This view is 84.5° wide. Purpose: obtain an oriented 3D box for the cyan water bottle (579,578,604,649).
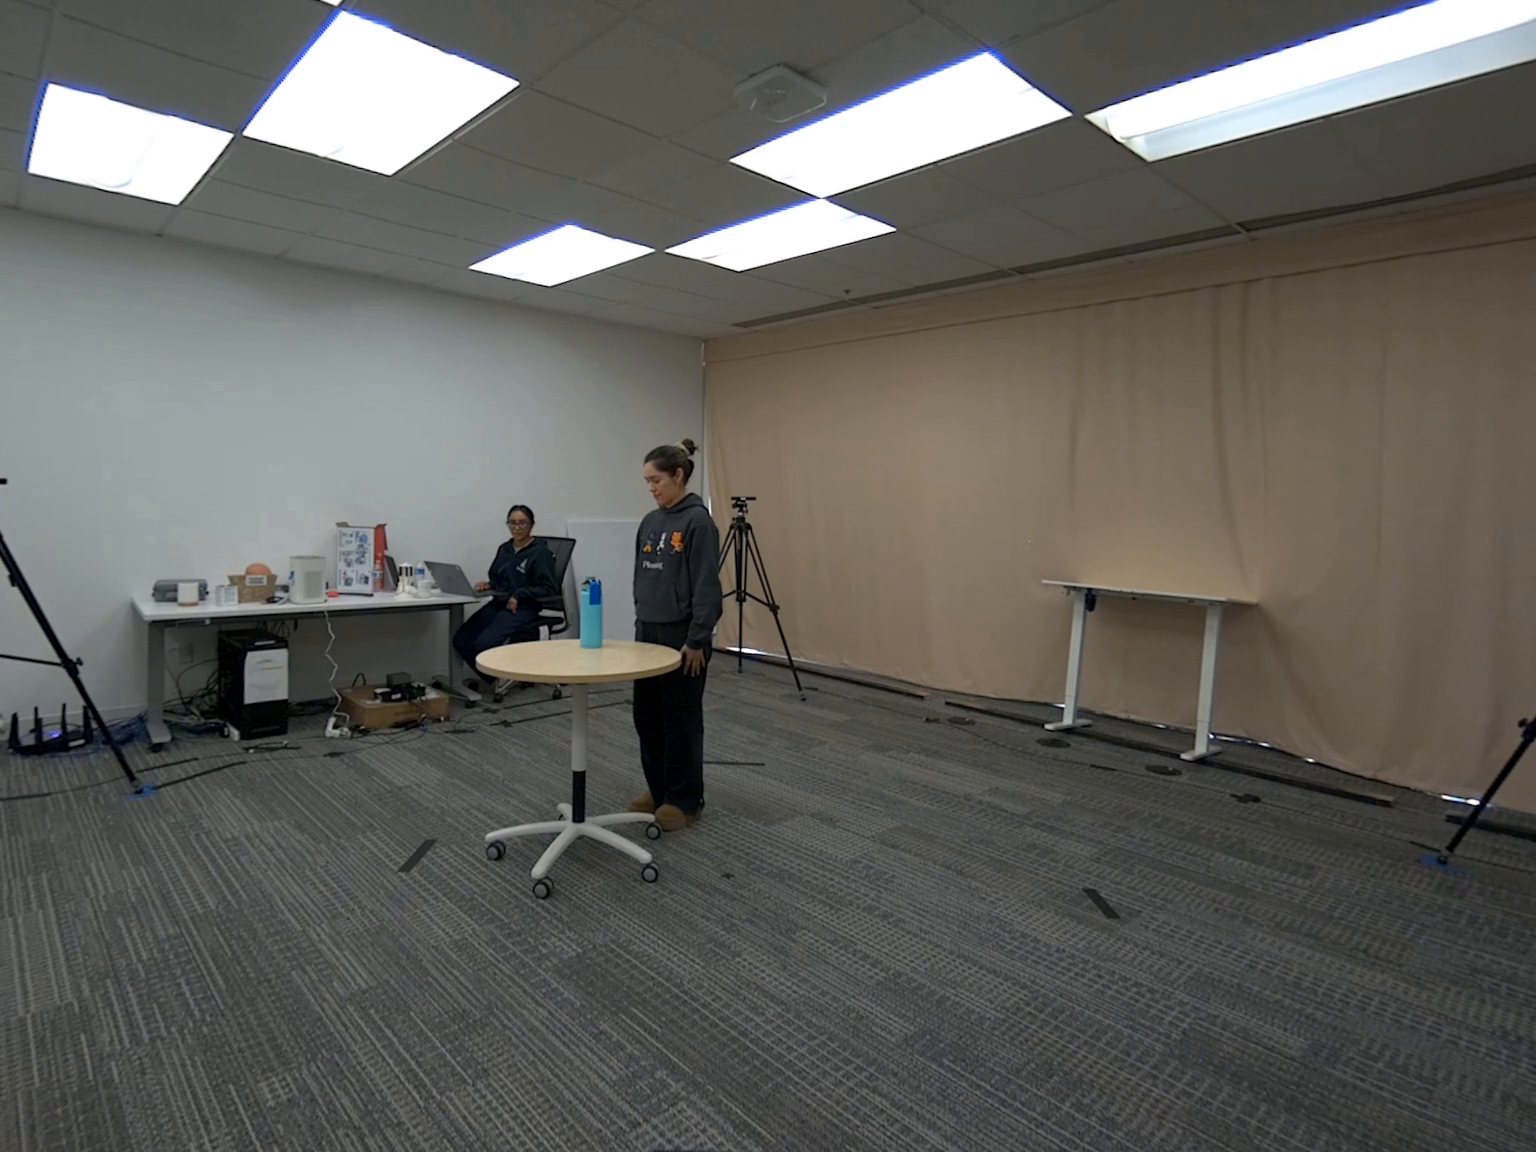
[{"bbox_3d":[-0.721,0.145,3.408,0.092,0.283,0.092,2,1,-1],"label":"cyan water bottle"}]
